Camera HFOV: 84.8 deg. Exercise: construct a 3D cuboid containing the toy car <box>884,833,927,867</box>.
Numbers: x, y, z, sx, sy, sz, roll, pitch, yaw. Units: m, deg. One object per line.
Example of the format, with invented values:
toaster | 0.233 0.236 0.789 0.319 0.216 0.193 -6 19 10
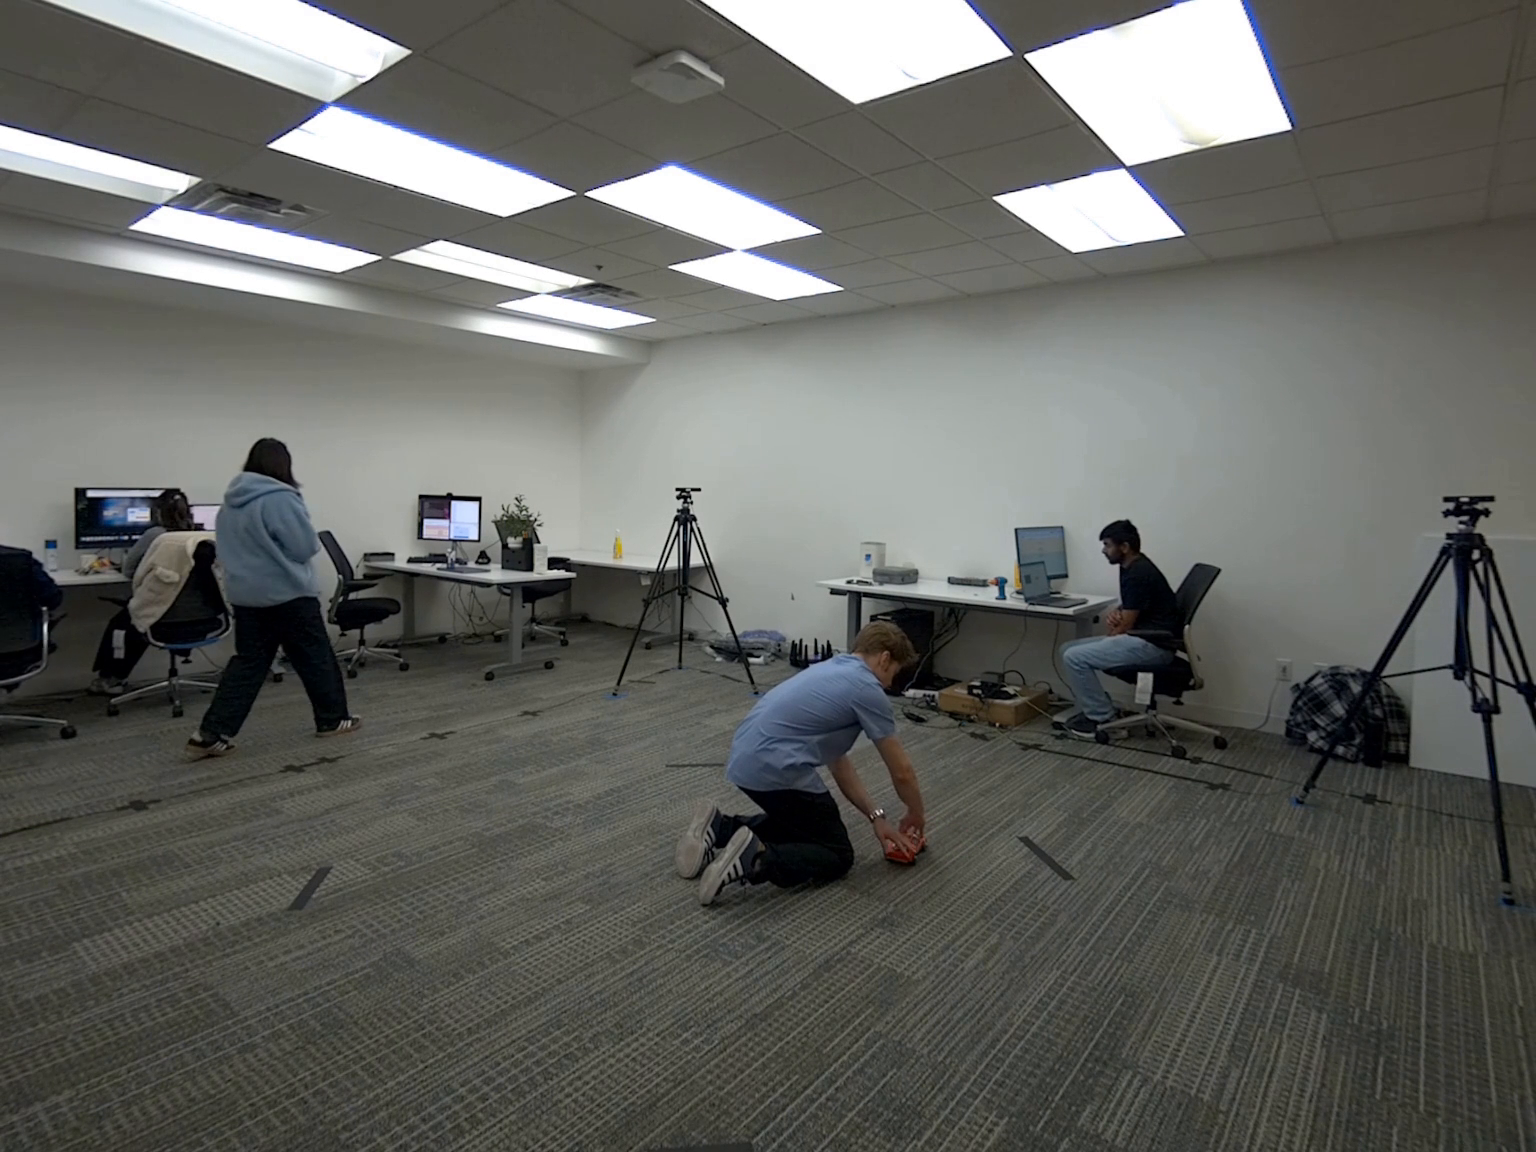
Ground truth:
toy car | 0.516 1.047 3.257 0.134 0.084 0.246 3 -7 28
